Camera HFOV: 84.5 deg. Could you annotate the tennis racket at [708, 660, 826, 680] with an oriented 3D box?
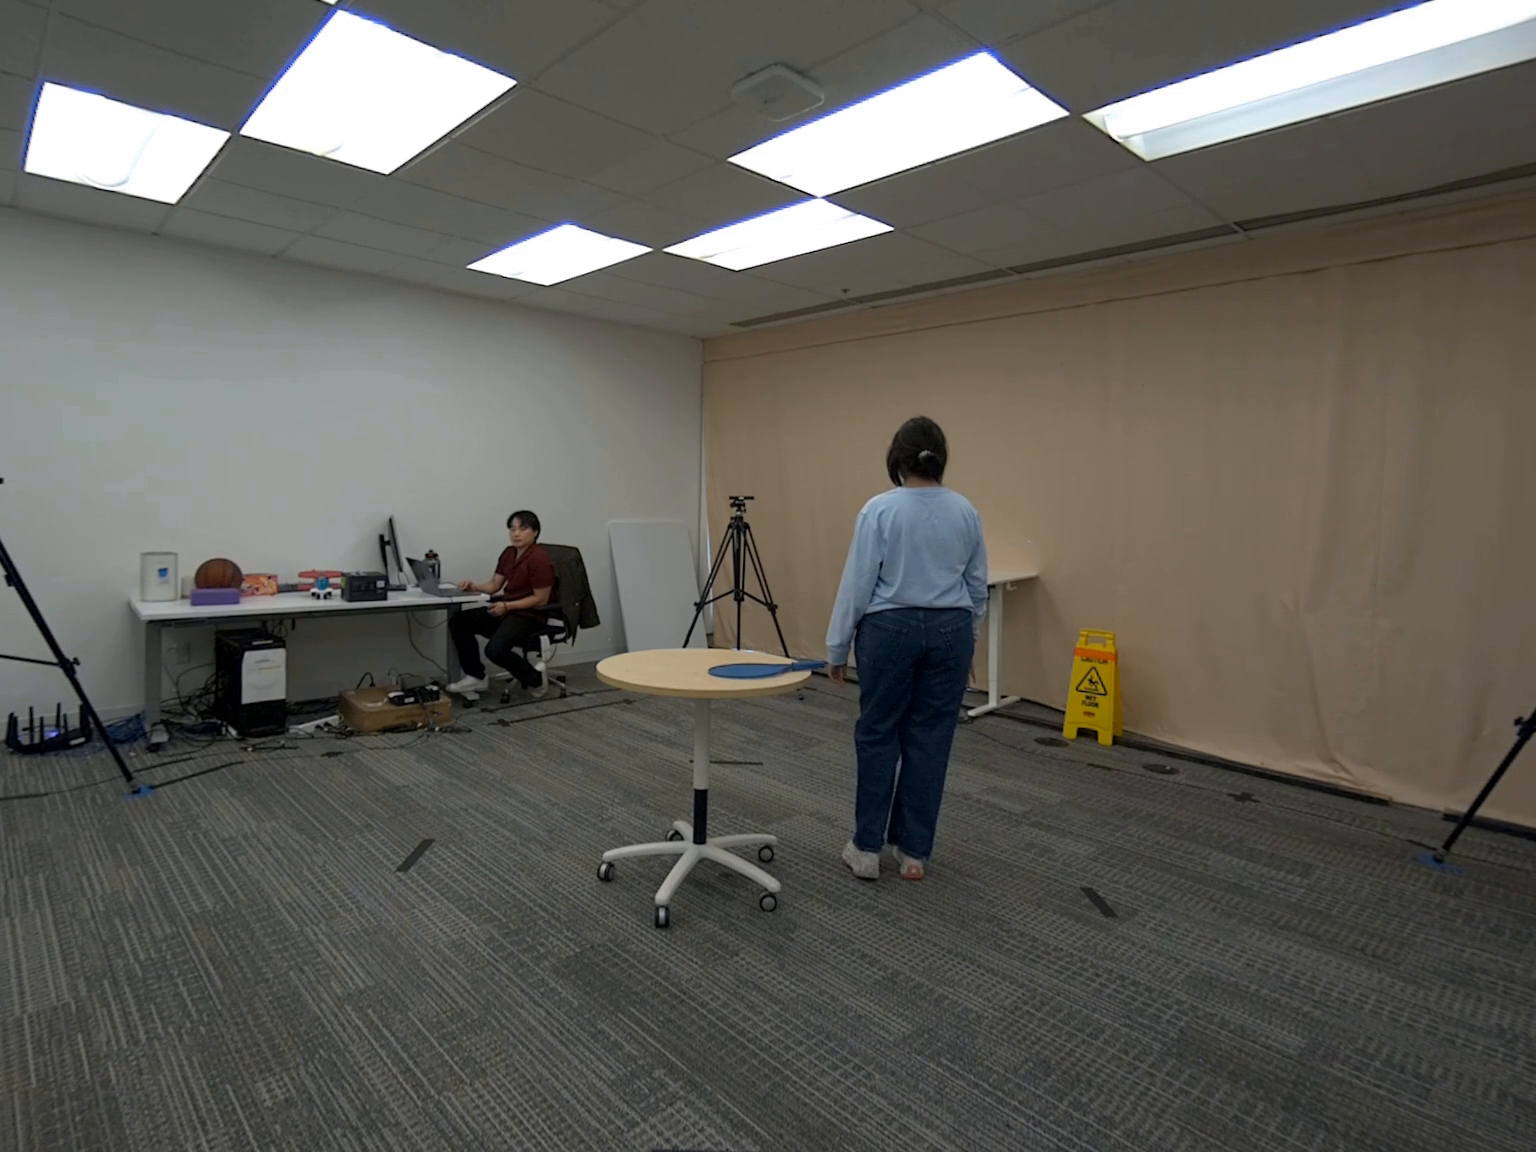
[{"bbox_3d":[0.000,0.326,2.948,0.427,0.031,0.217,-2,5,-17],"label":"tennis racket"}]
